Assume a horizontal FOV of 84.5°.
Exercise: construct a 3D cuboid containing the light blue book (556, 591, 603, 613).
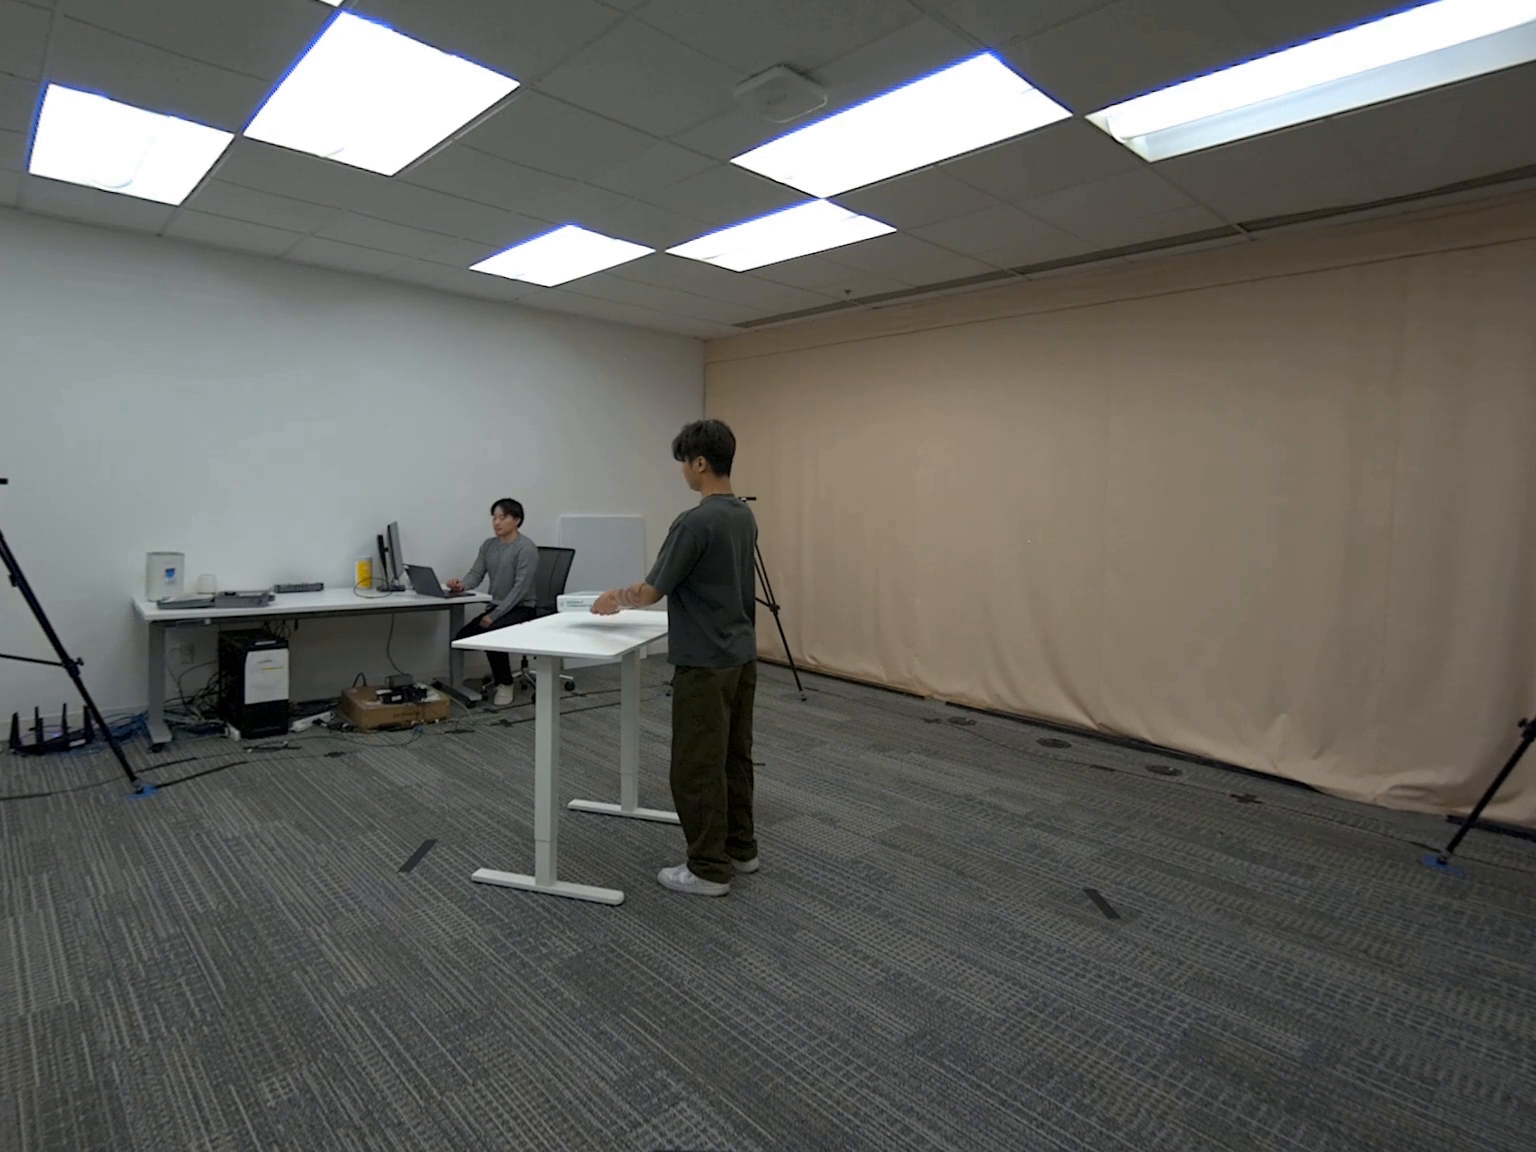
[{"bbox_3d":[-0.666,0.090,3.271,0.263,0.059,0.190,-1,5,10],"label":"light blue book"}]
